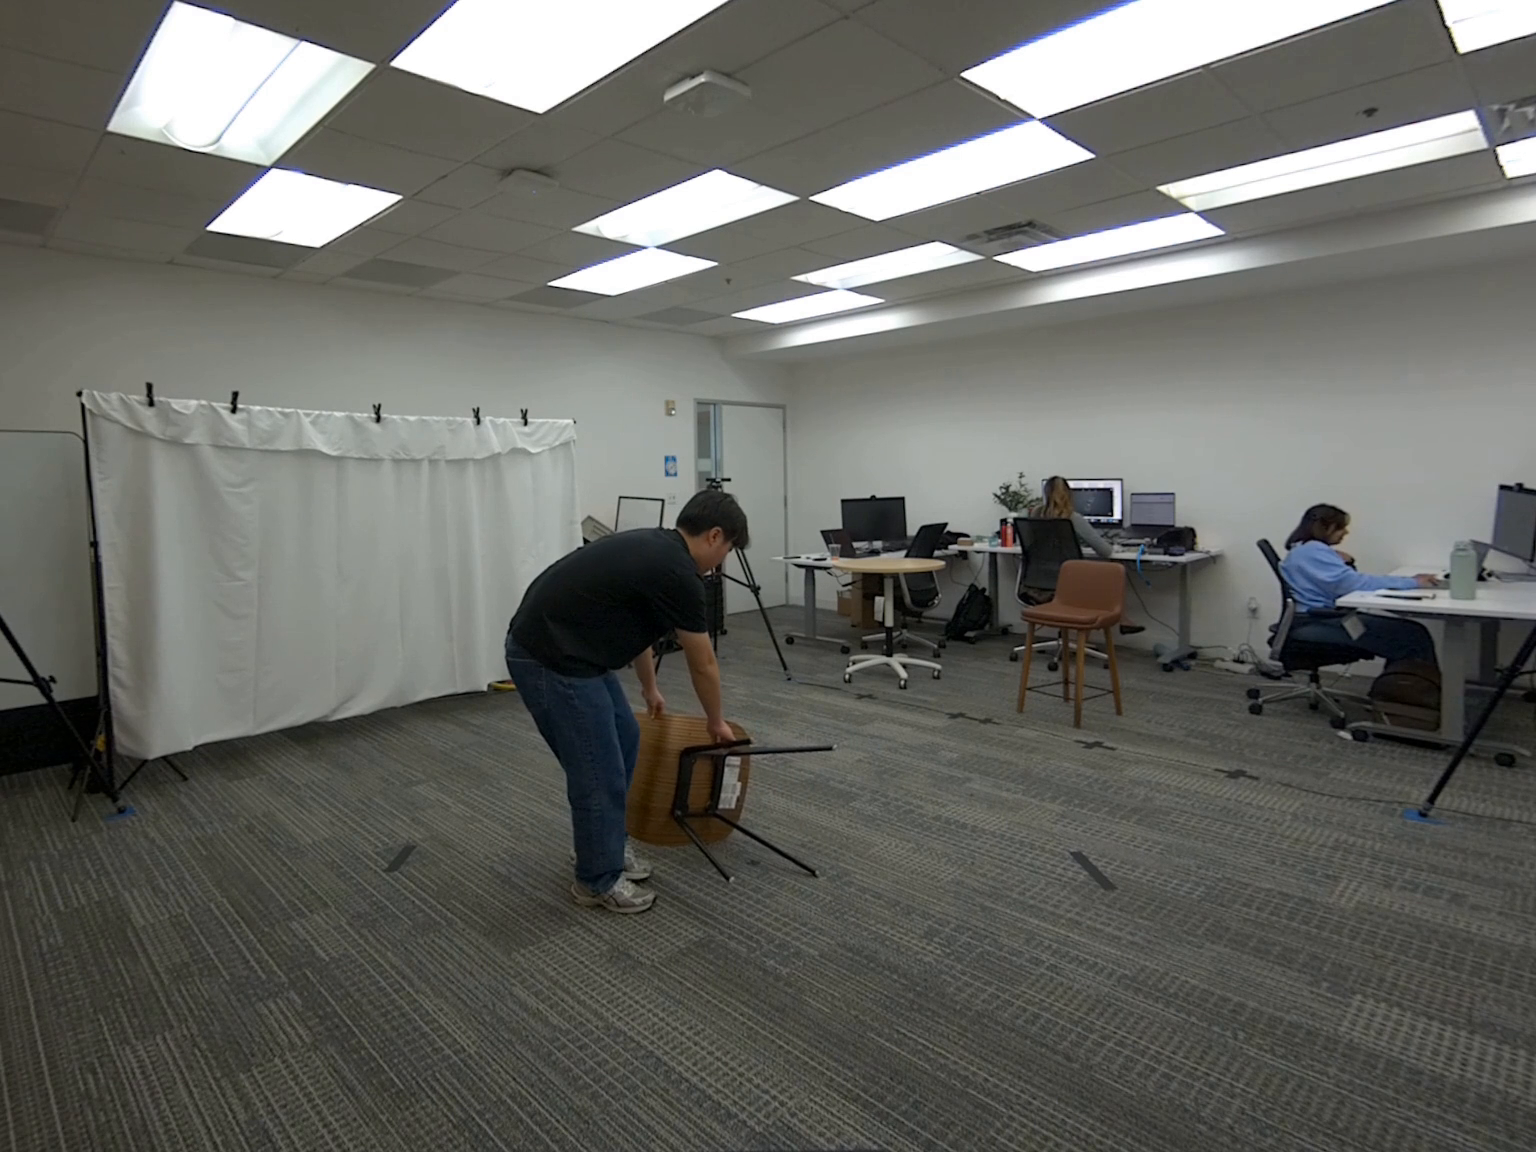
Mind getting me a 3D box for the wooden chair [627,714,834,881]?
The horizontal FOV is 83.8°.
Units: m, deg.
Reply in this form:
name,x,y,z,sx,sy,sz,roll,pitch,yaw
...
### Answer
name,x,y,z,sx,sy,sz,roll,pitch,yaw
wooden chair,-0.242,0.777,3.183,0.903,0.481,0.505,2,-9,40
